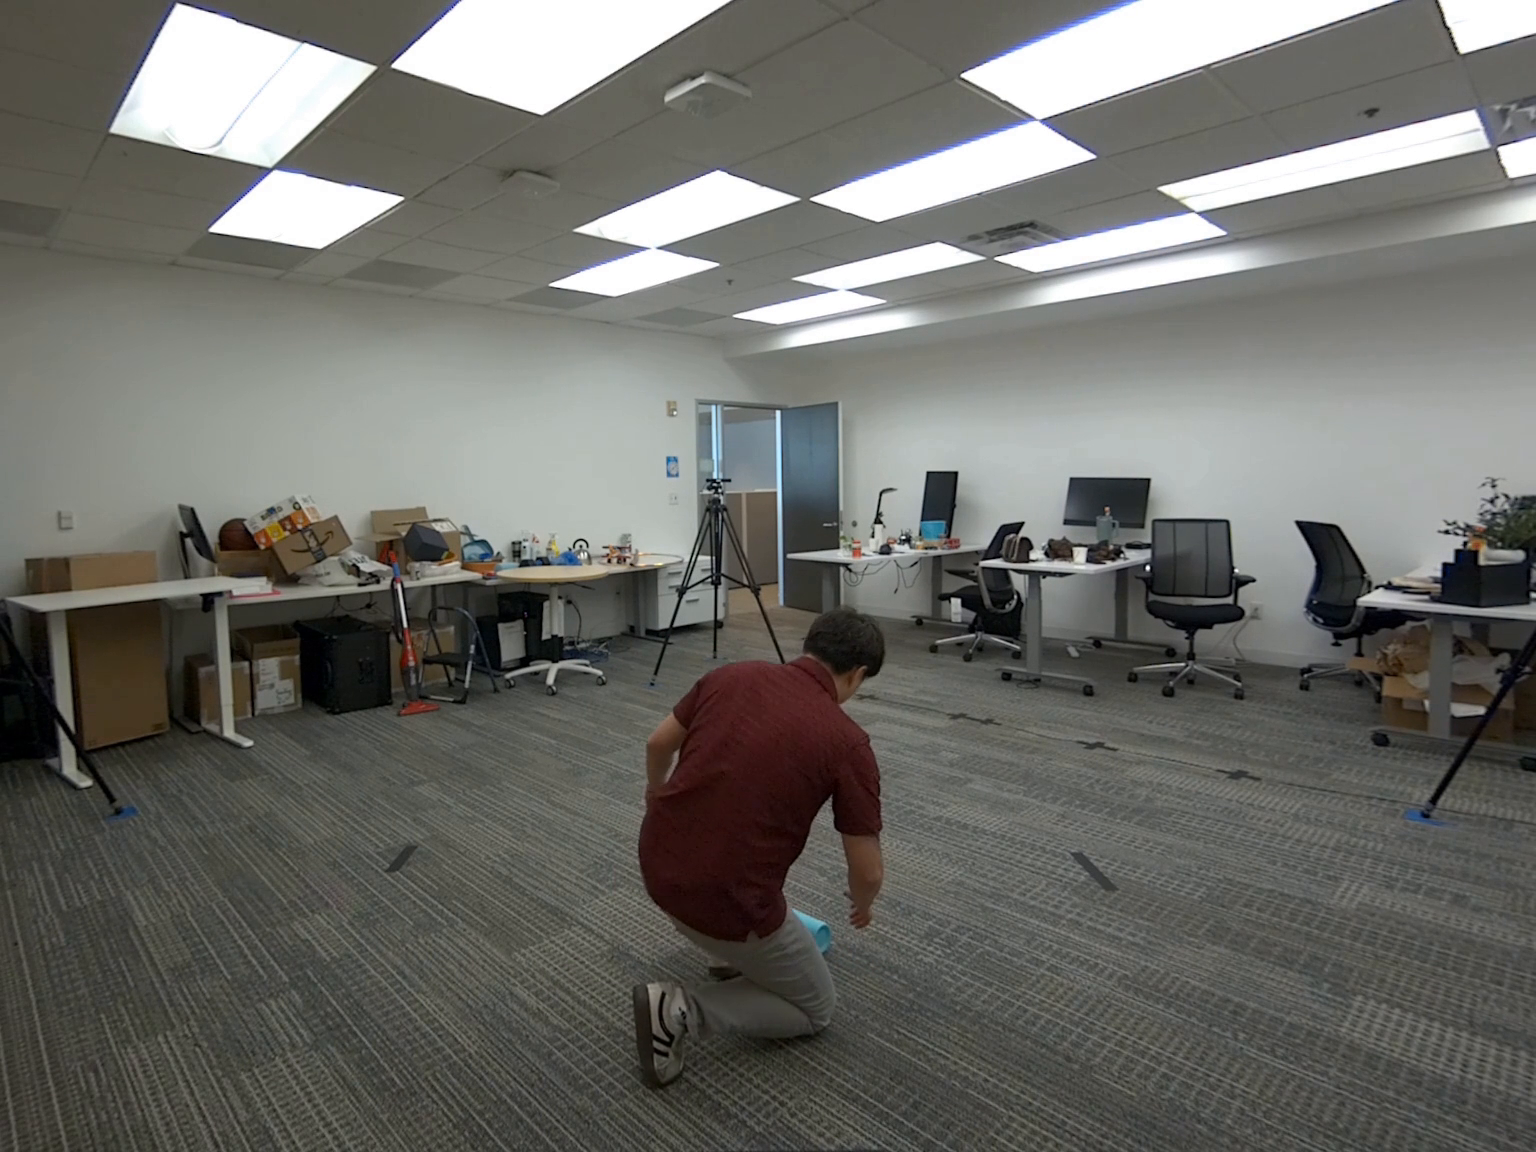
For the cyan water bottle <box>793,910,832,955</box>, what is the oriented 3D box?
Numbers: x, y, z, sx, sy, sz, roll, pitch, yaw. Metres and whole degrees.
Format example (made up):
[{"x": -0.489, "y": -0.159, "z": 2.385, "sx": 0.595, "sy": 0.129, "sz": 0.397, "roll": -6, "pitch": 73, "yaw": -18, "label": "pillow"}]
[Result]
[{"x": 0.069, "y": 1.056, "z": 2.599, "sx": 0.292, "sy": 0.092, "sz": 0.090, "roll": 5, "pitch": 7, "yaw": 43, "label": "cyan water bottle"}]
